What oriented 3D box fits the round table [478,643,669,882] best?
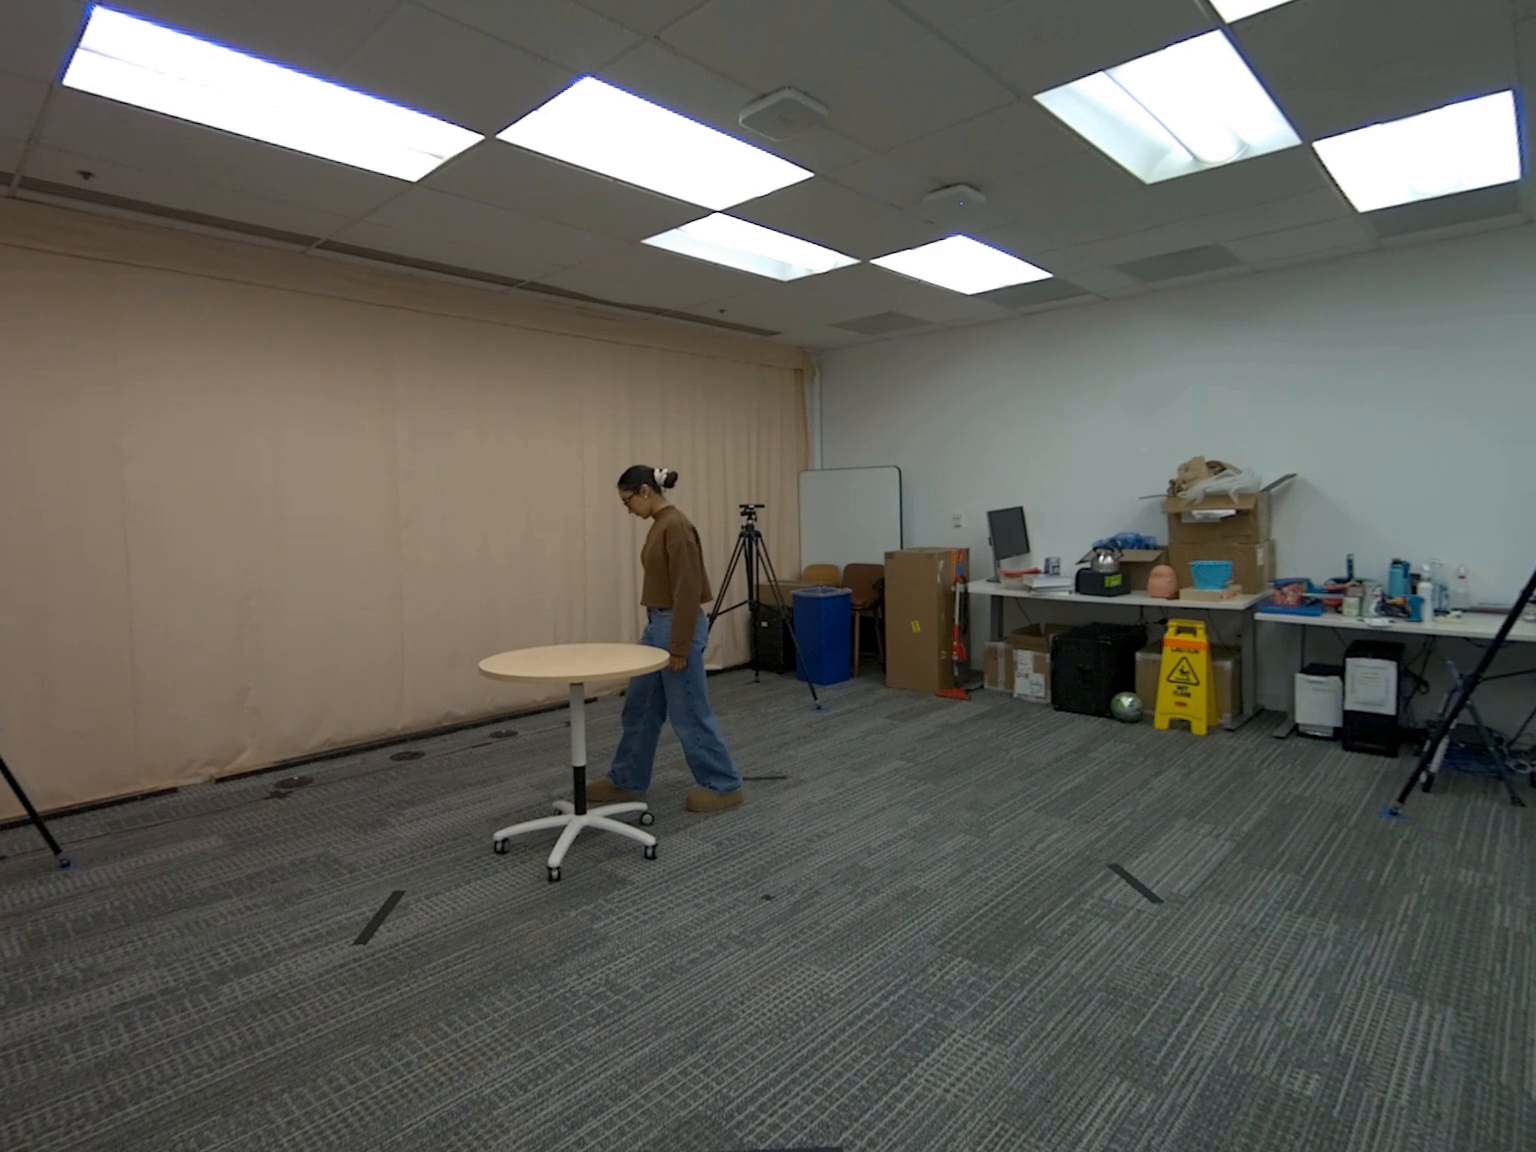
[{"bbox_3d":[-0.777,0.729,3.456,0.763,0.792,0.766,-2,3,-2],"label":"round table"}]
